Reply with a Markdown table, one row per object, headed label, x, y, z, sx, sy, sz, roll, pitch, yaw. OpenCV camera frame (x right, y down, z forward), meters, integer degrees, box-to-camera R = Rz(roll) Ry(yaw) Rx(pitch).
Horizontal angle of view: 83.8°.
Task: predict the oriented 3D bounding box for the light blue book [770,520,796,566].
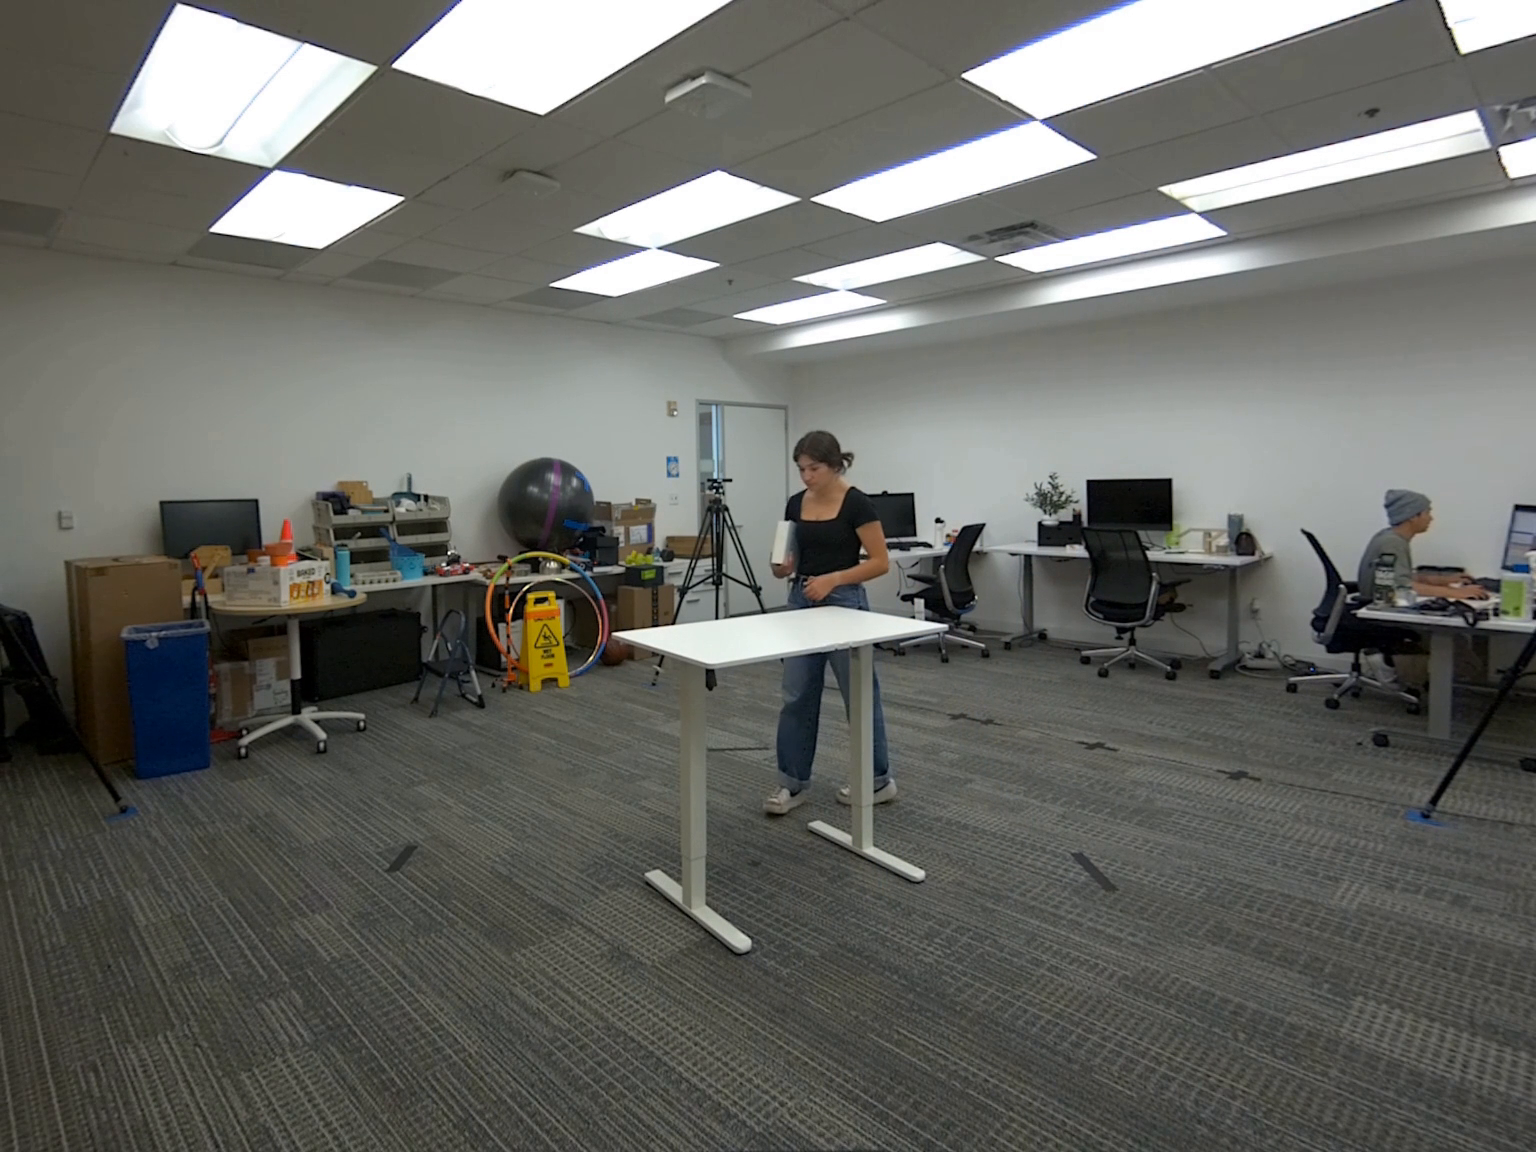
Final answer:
| label | x | y | z | sx | sy | sz | roll | pitch | yaw |
| --- | --- | --- | --- | --- | --- | --- | --- | --- | --- |
| light blue book | 0.116 | -0.123 | 3.672 | 0.061 | 0.192 | 0.252 | 7 | -8 | 29 |
